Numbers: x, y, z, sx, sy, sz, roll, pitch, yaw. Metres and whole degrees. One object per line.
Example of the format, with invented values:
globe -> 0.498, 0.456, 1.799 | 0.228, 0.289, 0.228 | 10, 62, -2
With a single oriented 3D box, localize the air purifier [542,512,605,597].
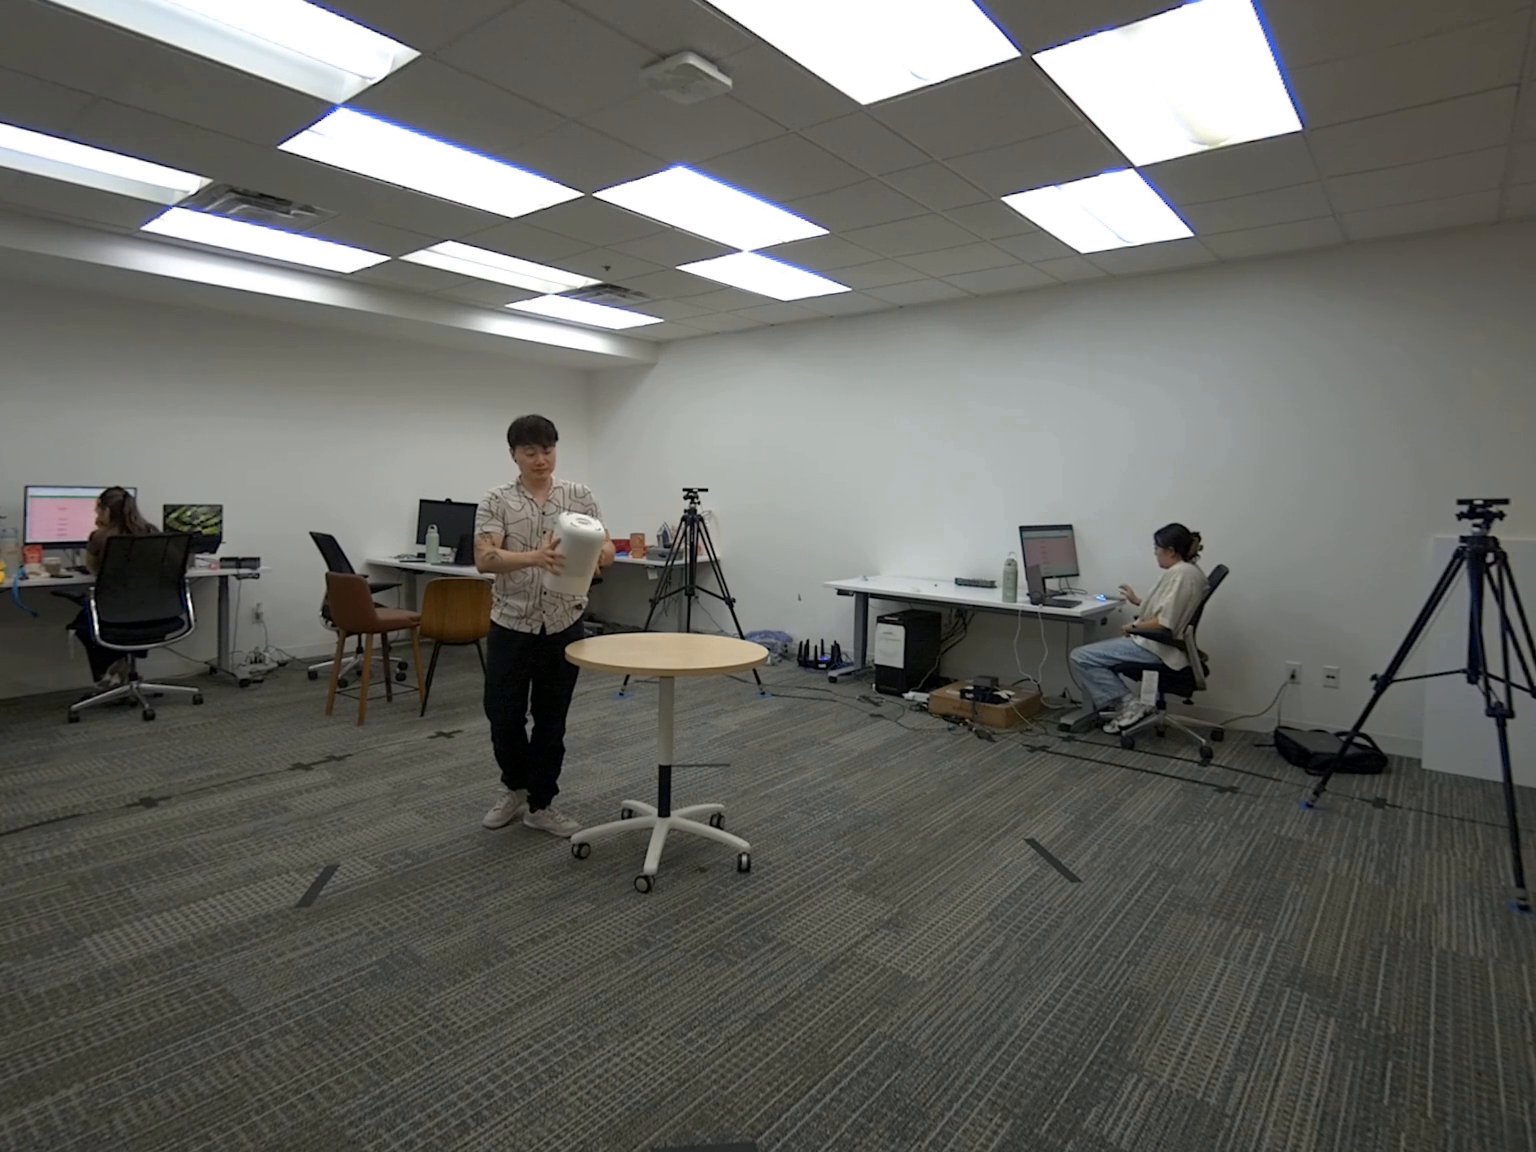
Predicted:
air purifier -> -0.726, -0.087, 3.134 | 0.167, 0.263, 0.178 | 11, 23, -26
